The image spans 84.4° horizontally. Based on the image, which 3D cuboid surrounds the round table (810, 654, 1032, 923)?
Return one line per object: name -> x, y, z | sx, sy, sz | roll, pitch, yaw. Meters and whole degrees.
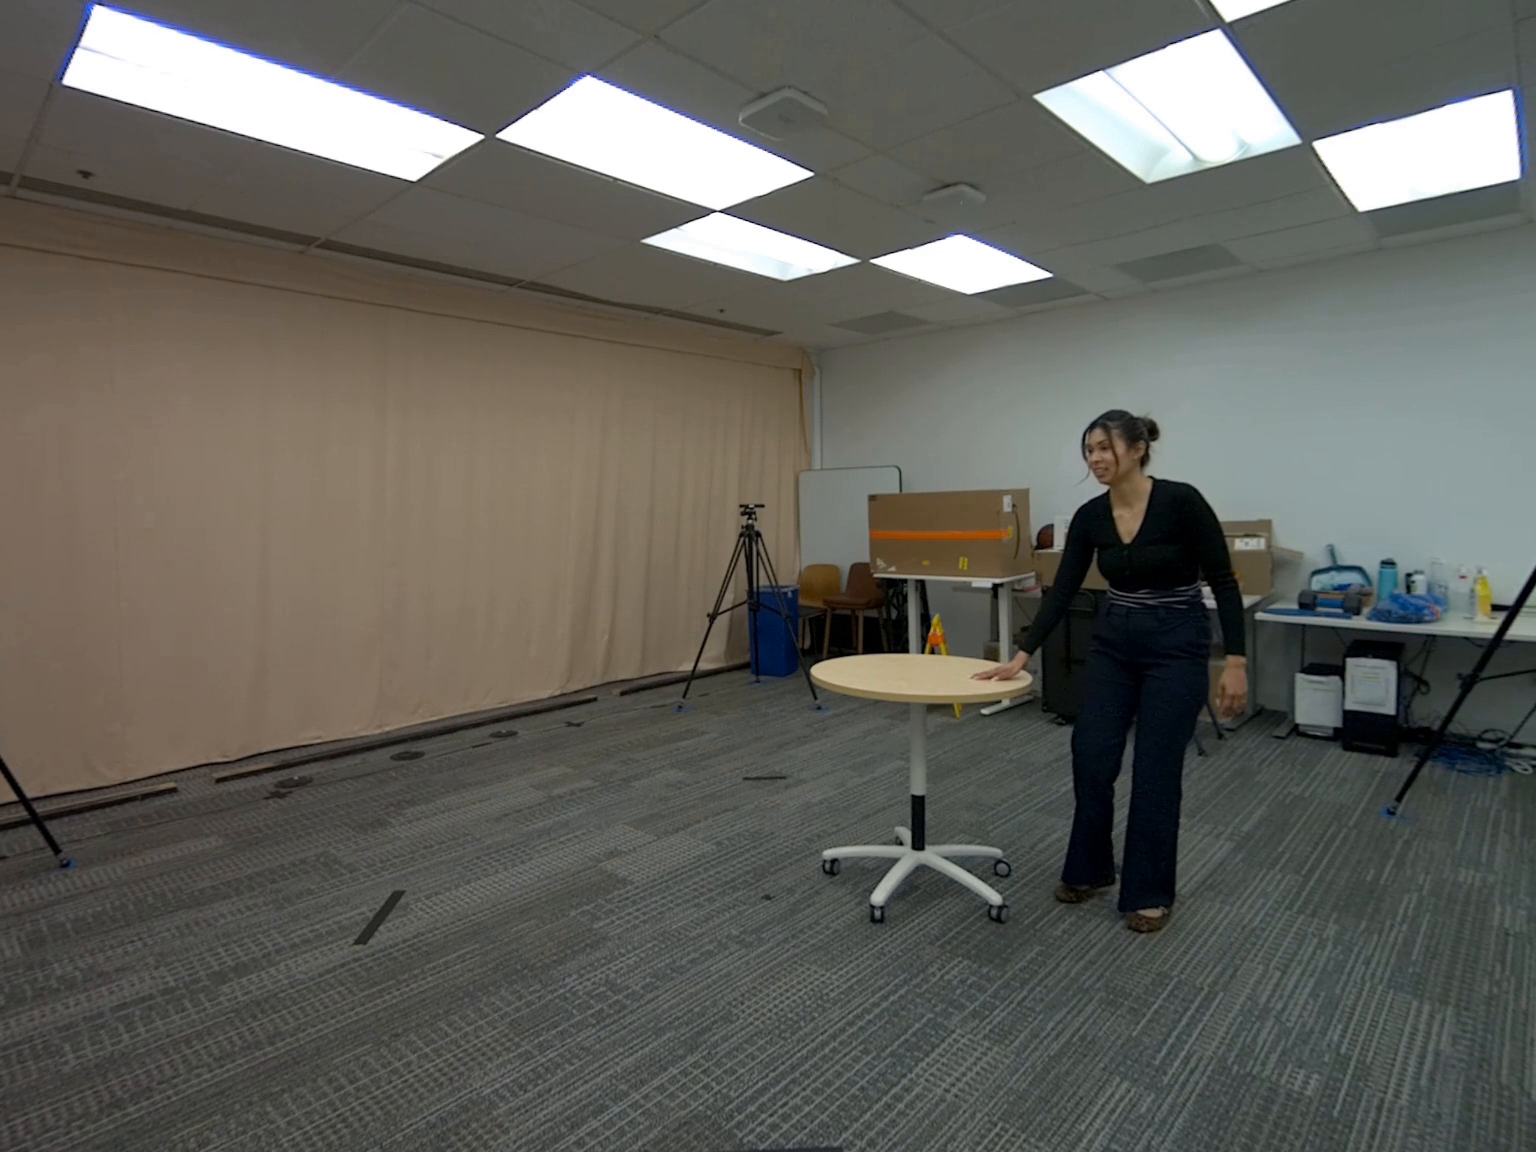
round table -> 0.544, 0.738, 3.024 | 0.763, 0.792, 0.766 | 0, 4, -2
